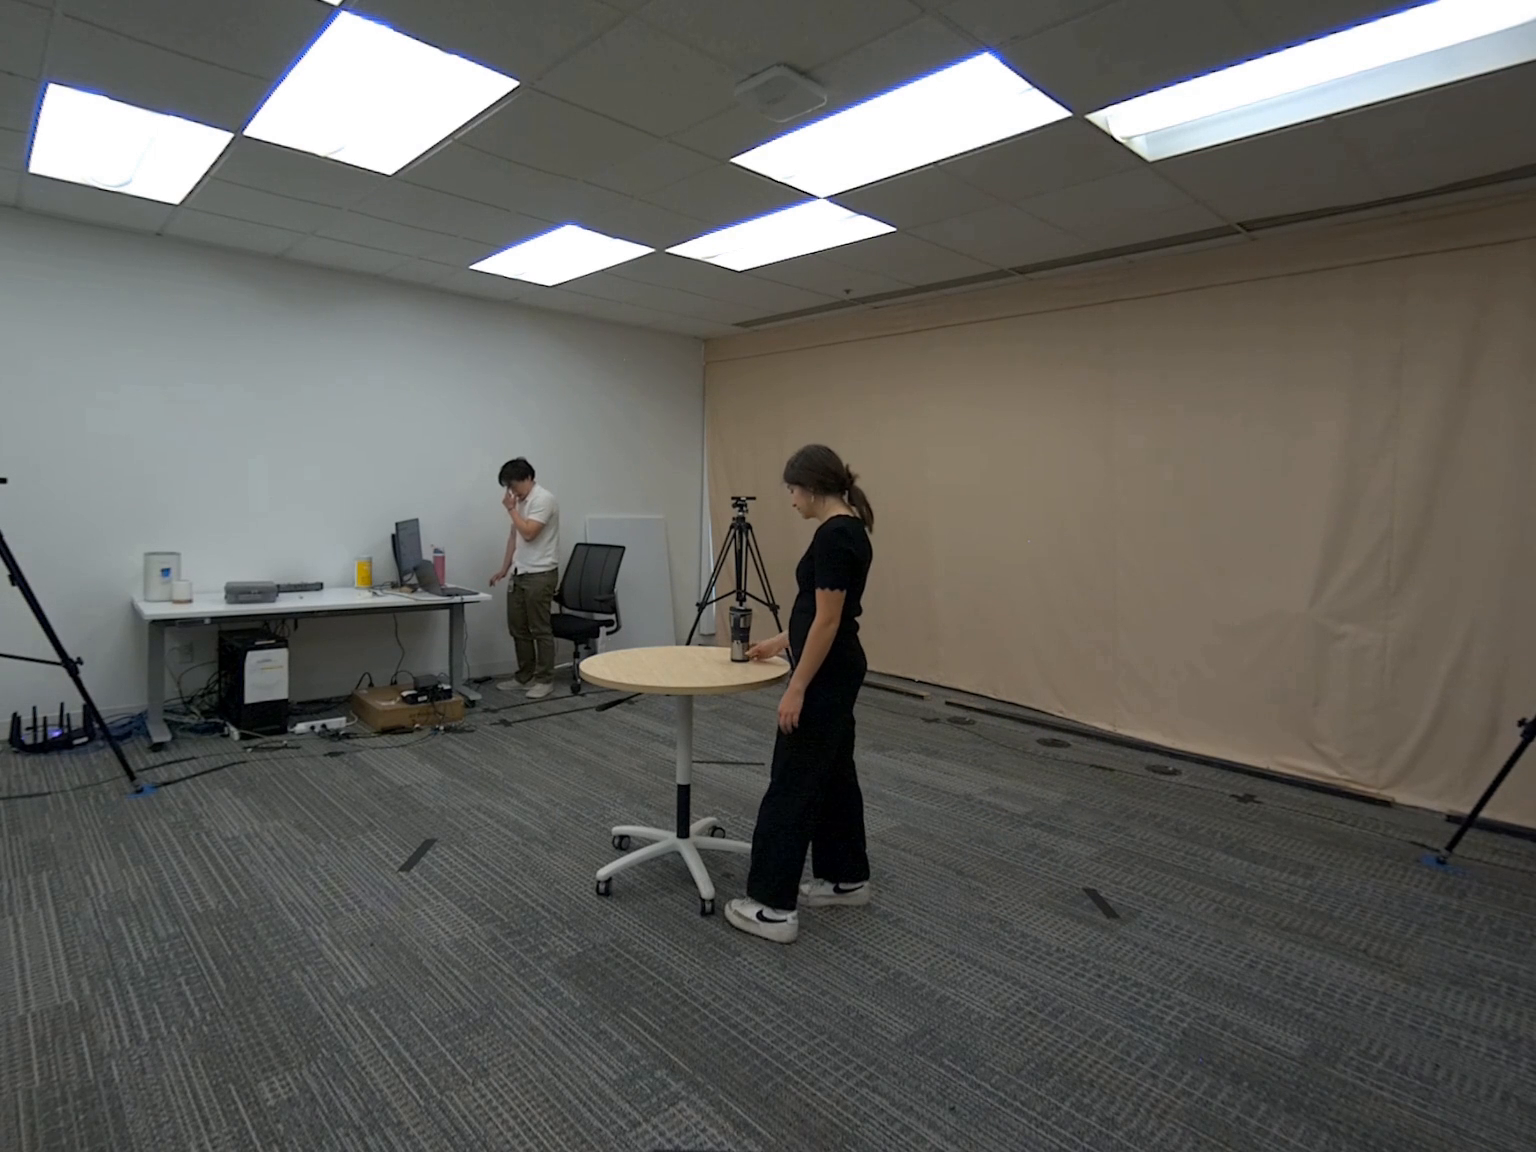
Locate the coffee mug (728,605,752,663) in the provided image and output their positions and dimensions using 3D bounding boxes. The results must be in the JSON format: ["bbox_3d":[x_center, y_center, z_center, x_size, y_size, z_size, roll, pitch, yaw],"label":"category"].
[{"bbox_3d":[-0.124,0.219,3.122,0.090,0.203,0.119,7,3,39],"label":"coffee mug"}]
